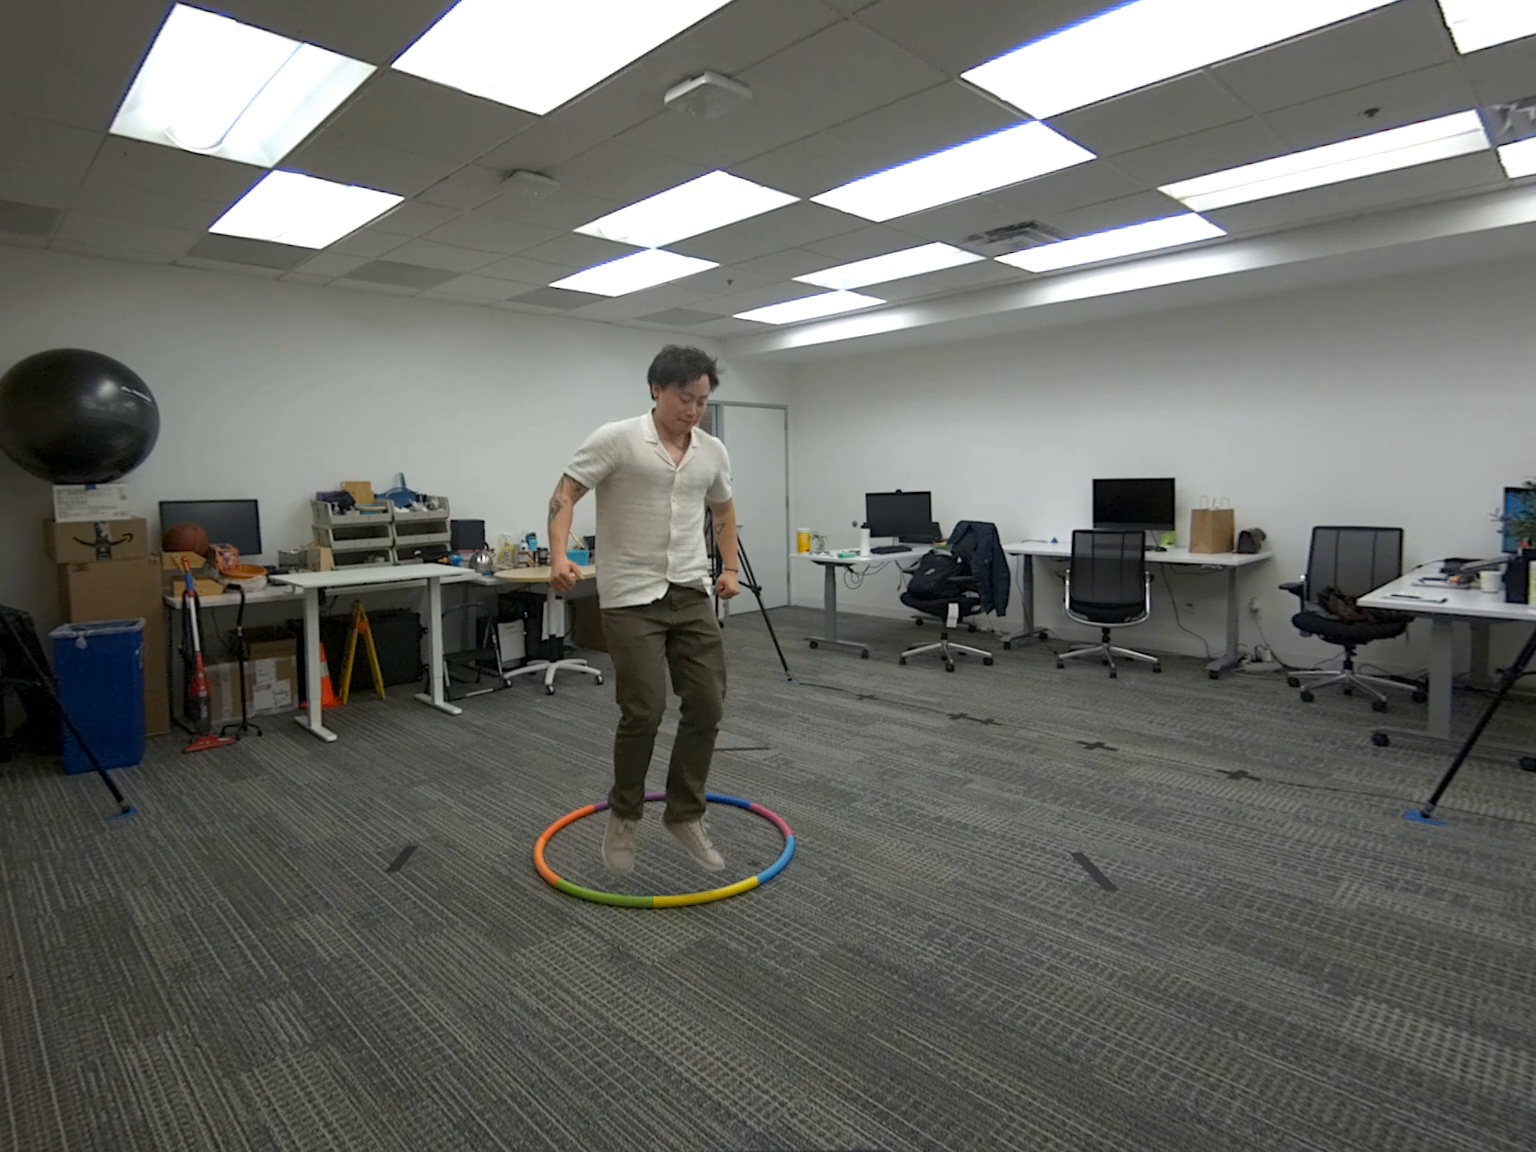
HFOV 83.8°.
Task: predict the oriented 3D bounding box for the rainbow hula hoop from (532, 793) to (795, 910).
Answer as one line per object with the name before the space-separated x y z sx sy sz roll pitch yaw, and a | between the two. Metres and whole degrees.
rainbow hula hoop | -0.391 1.002 3.271 0.978 0.035 0.984 -1 6 -2
